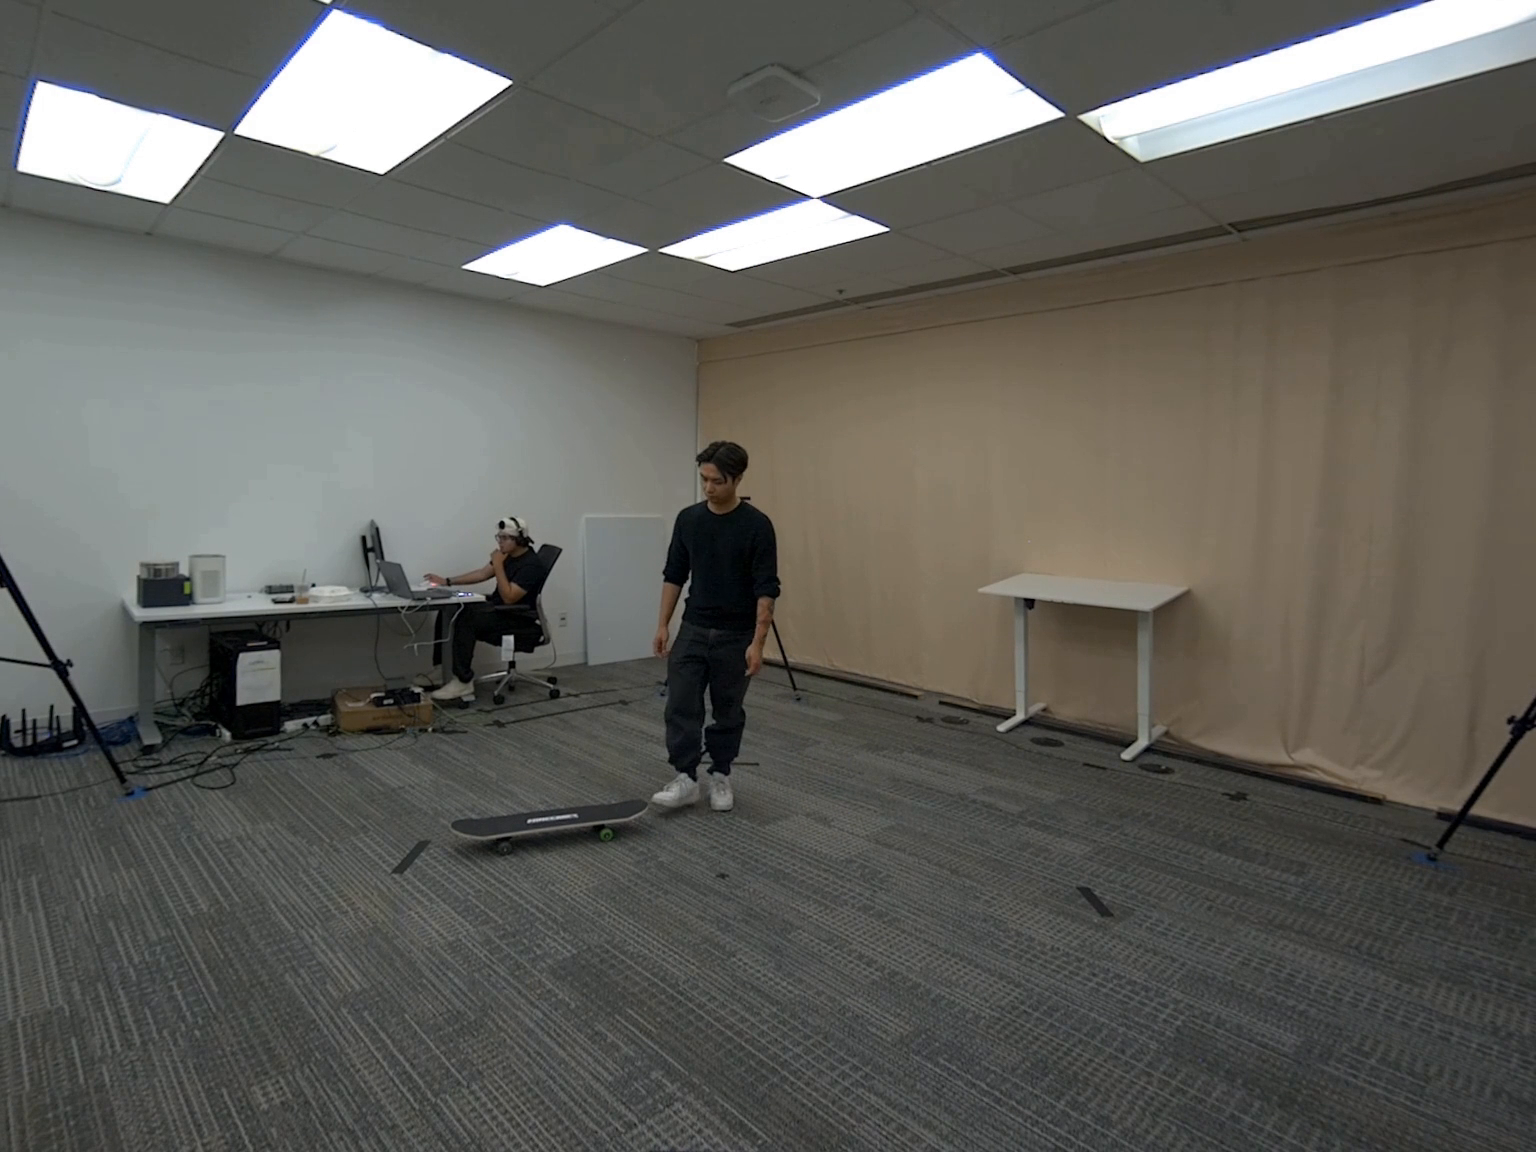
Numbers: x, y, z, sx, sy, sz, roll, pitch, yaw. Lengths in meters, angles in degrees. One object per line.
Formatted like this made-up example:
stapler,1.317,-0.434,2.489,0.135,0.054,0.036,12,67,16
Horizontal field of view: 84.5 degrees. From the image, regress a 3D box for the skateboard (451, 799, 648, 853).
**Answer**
skateboard,-0.869,1.008,3.386,0.772,0.110,0.197,-1,5,-22
